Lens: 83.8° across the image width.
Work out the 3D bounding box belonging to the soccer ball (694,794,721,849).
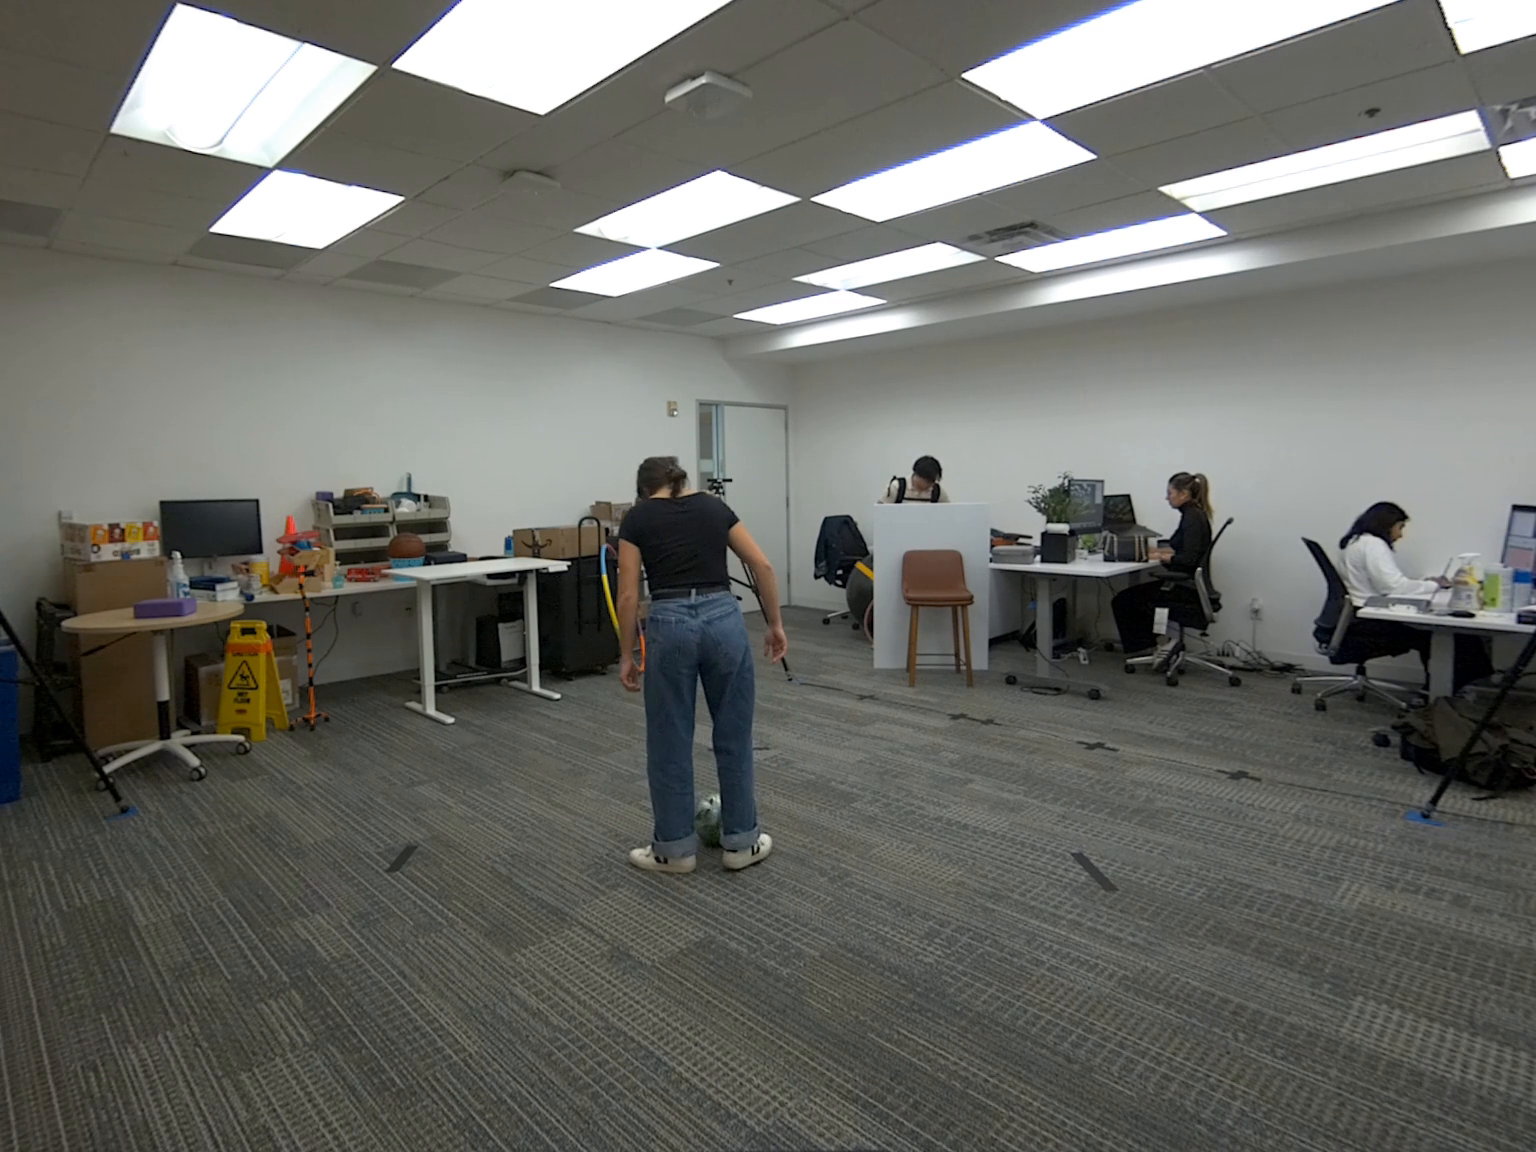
[{"bbox_3d":[-0.192,0.936,3.287,0.187,0.187,0.188,-1,5,-2],"label":"soccer ball"}]
